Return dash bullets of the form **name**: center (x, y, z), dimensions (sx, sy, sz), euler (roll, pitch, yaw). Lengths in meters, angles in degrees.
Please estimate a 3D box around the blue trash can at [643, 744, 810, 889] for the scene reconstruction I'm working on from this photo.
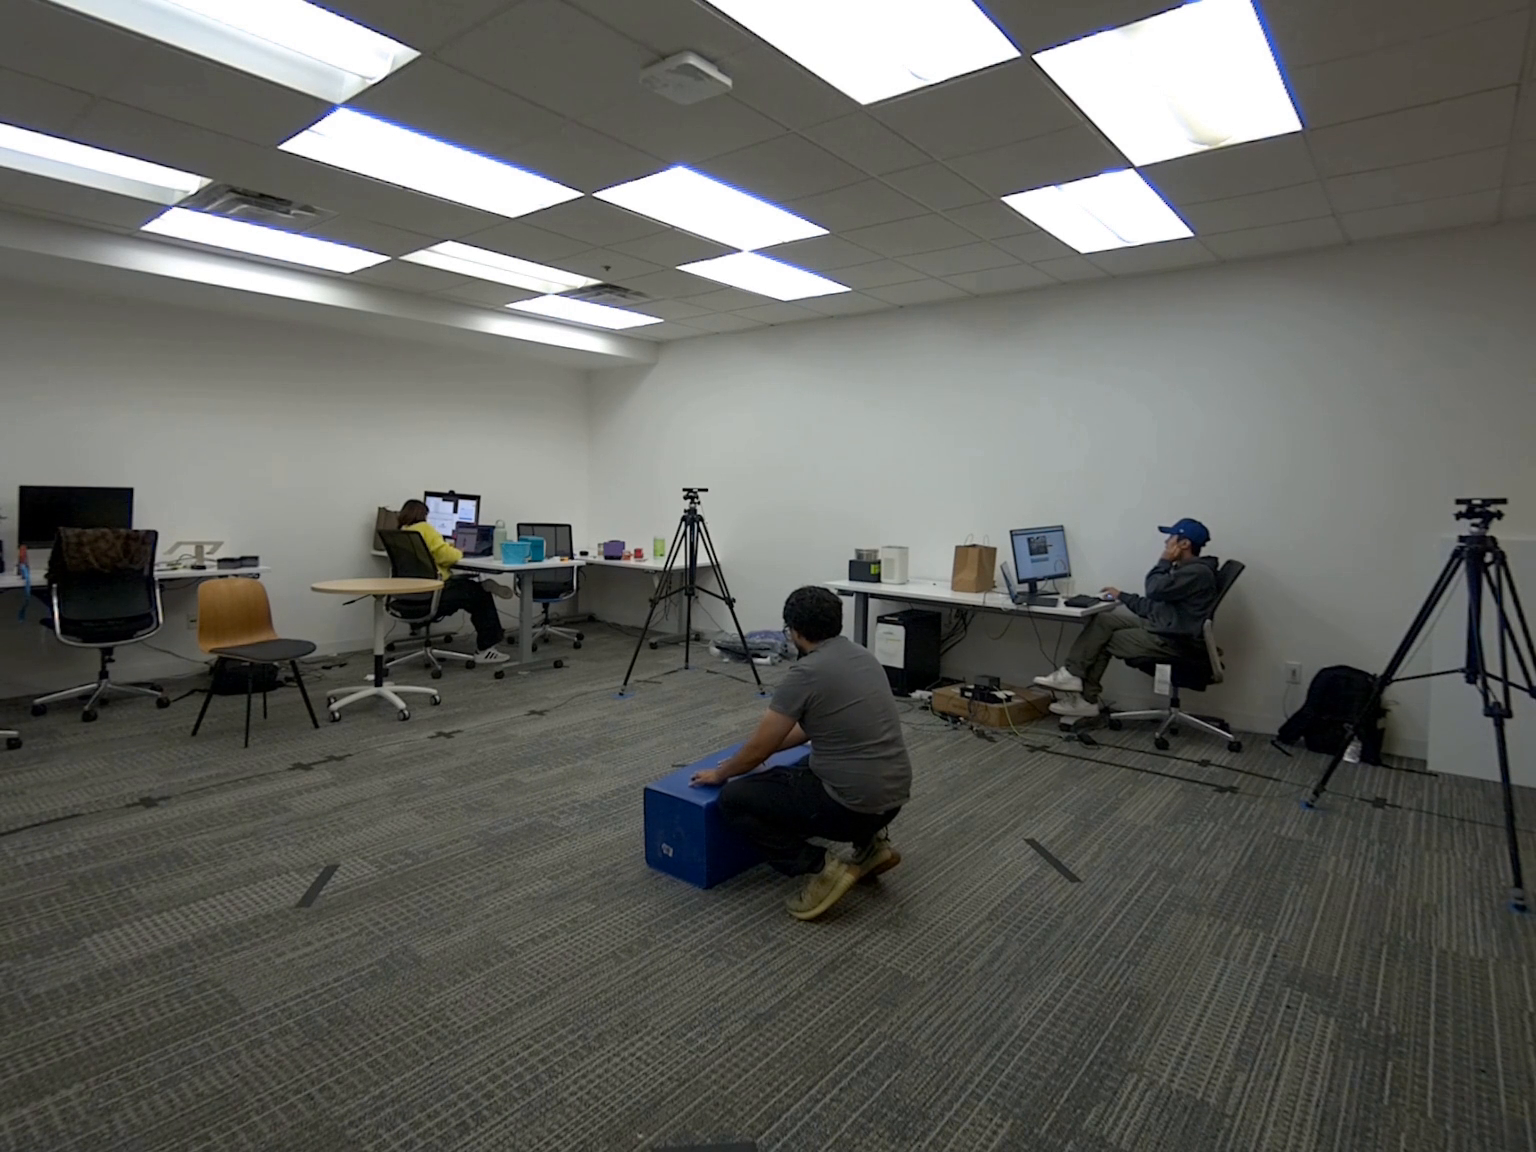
- **blue trash can**: center (-0.137, 0.882, 3.294), dimensions (0.387, 0.376, 0.694), euler (4, 8, 39)
